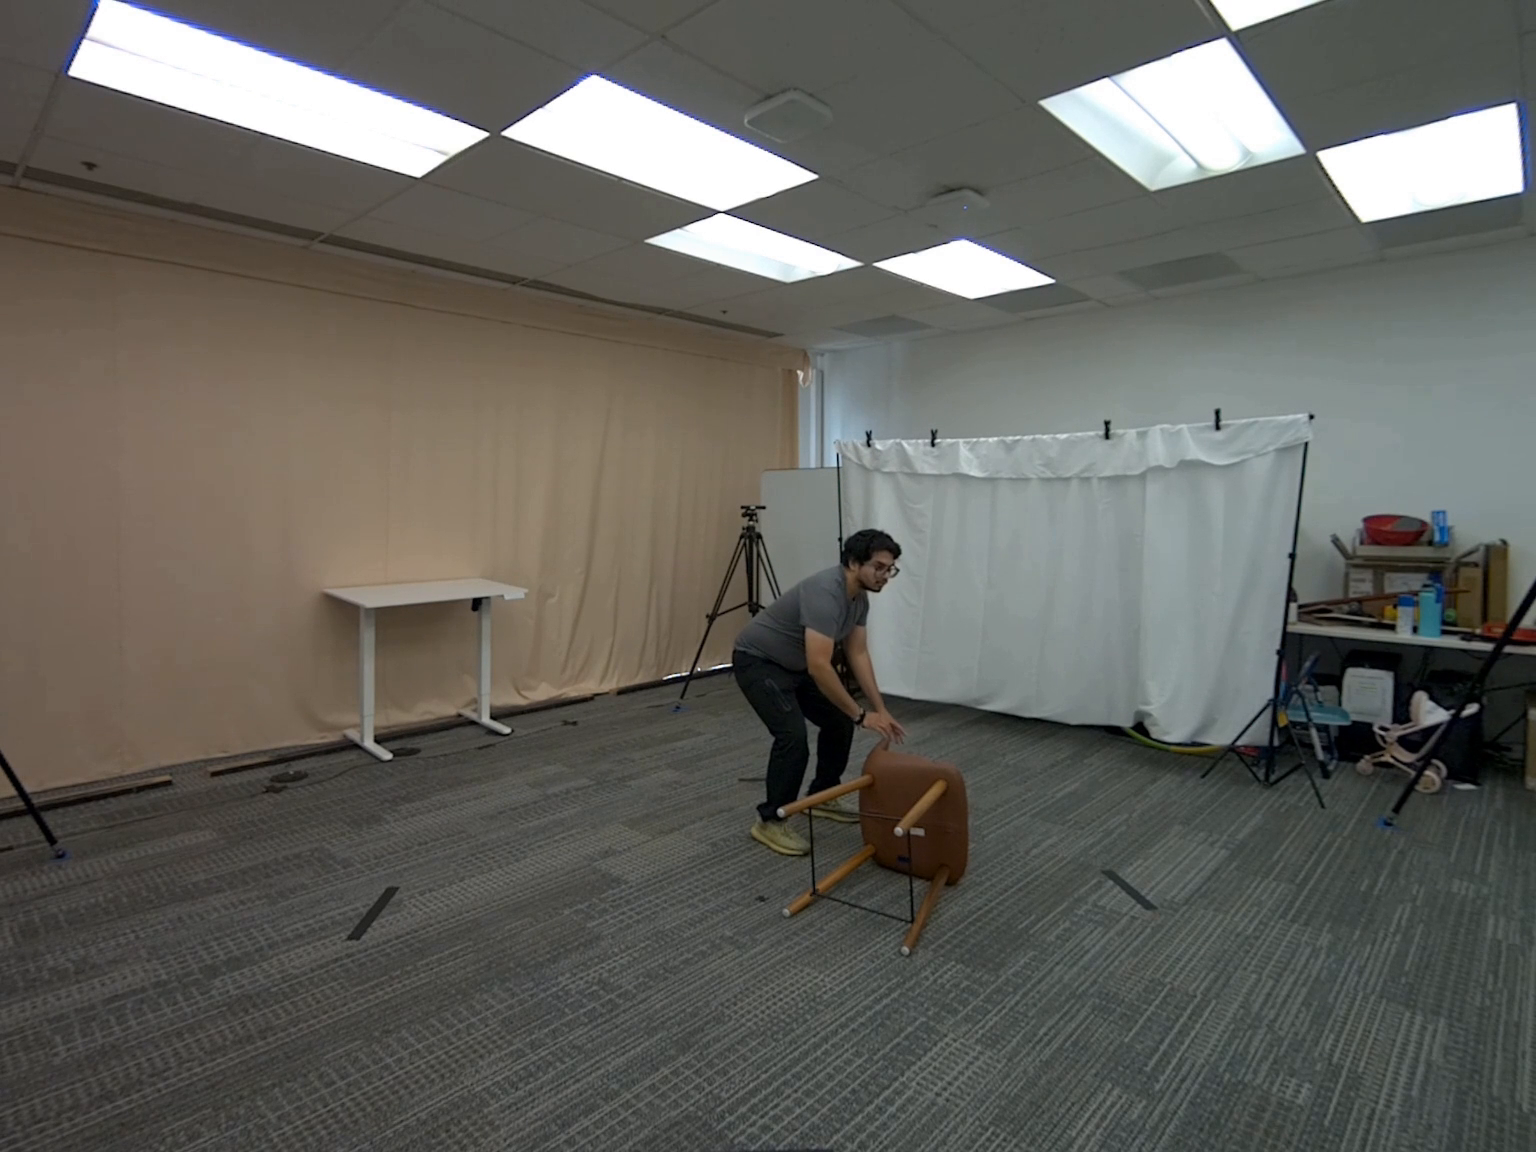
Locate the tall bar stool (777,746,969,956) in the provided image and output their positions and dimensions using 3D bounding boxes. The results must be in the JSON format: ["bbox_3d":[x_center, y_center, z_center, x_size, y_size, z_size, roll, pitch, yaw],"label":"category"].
[{"bbox_3d":[0.460,0.921,3.063,0.481,0.455,0.867,0,6,31],"label":"tall bar stool"}]
